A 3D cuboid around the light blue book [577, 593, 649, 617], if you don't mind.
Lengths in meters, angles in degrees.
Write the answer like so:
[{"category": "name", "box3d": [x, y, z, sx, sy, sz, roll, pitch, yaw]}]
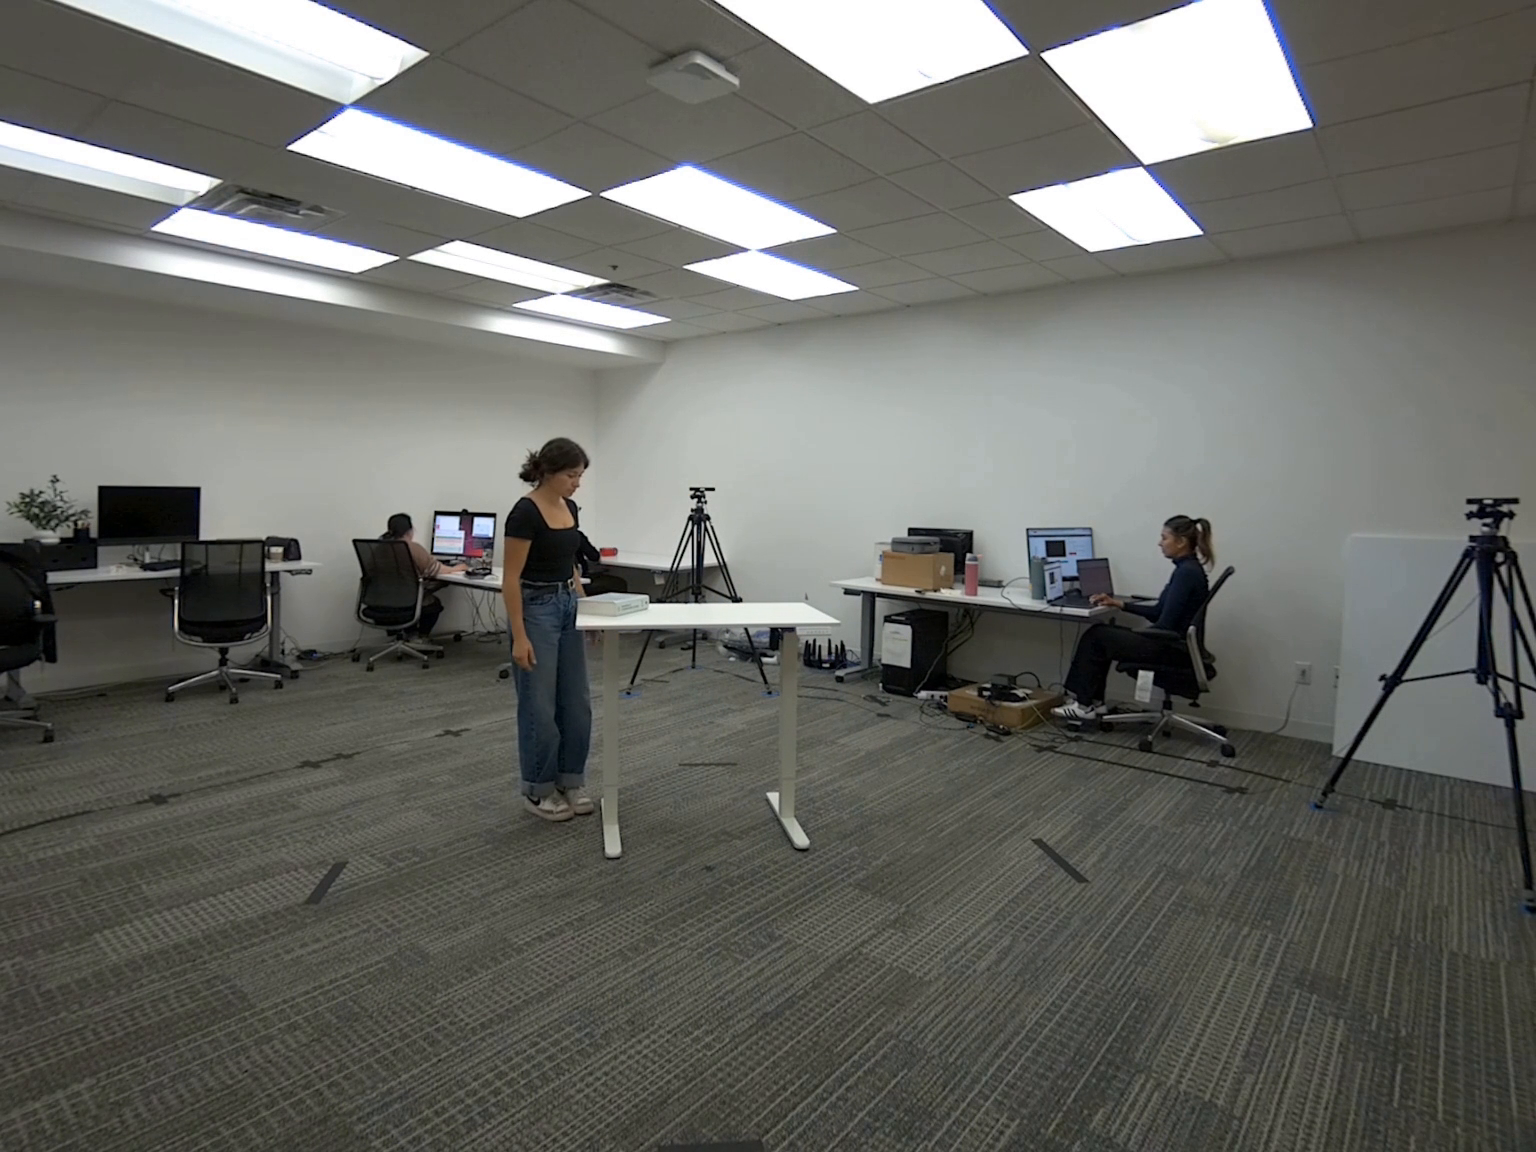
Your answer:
[{"category": "light blue book", "box3d": [-0.650, 0.115, 3.498, 0.196, 0.059, 0.255, 2, 5, 23]}]
